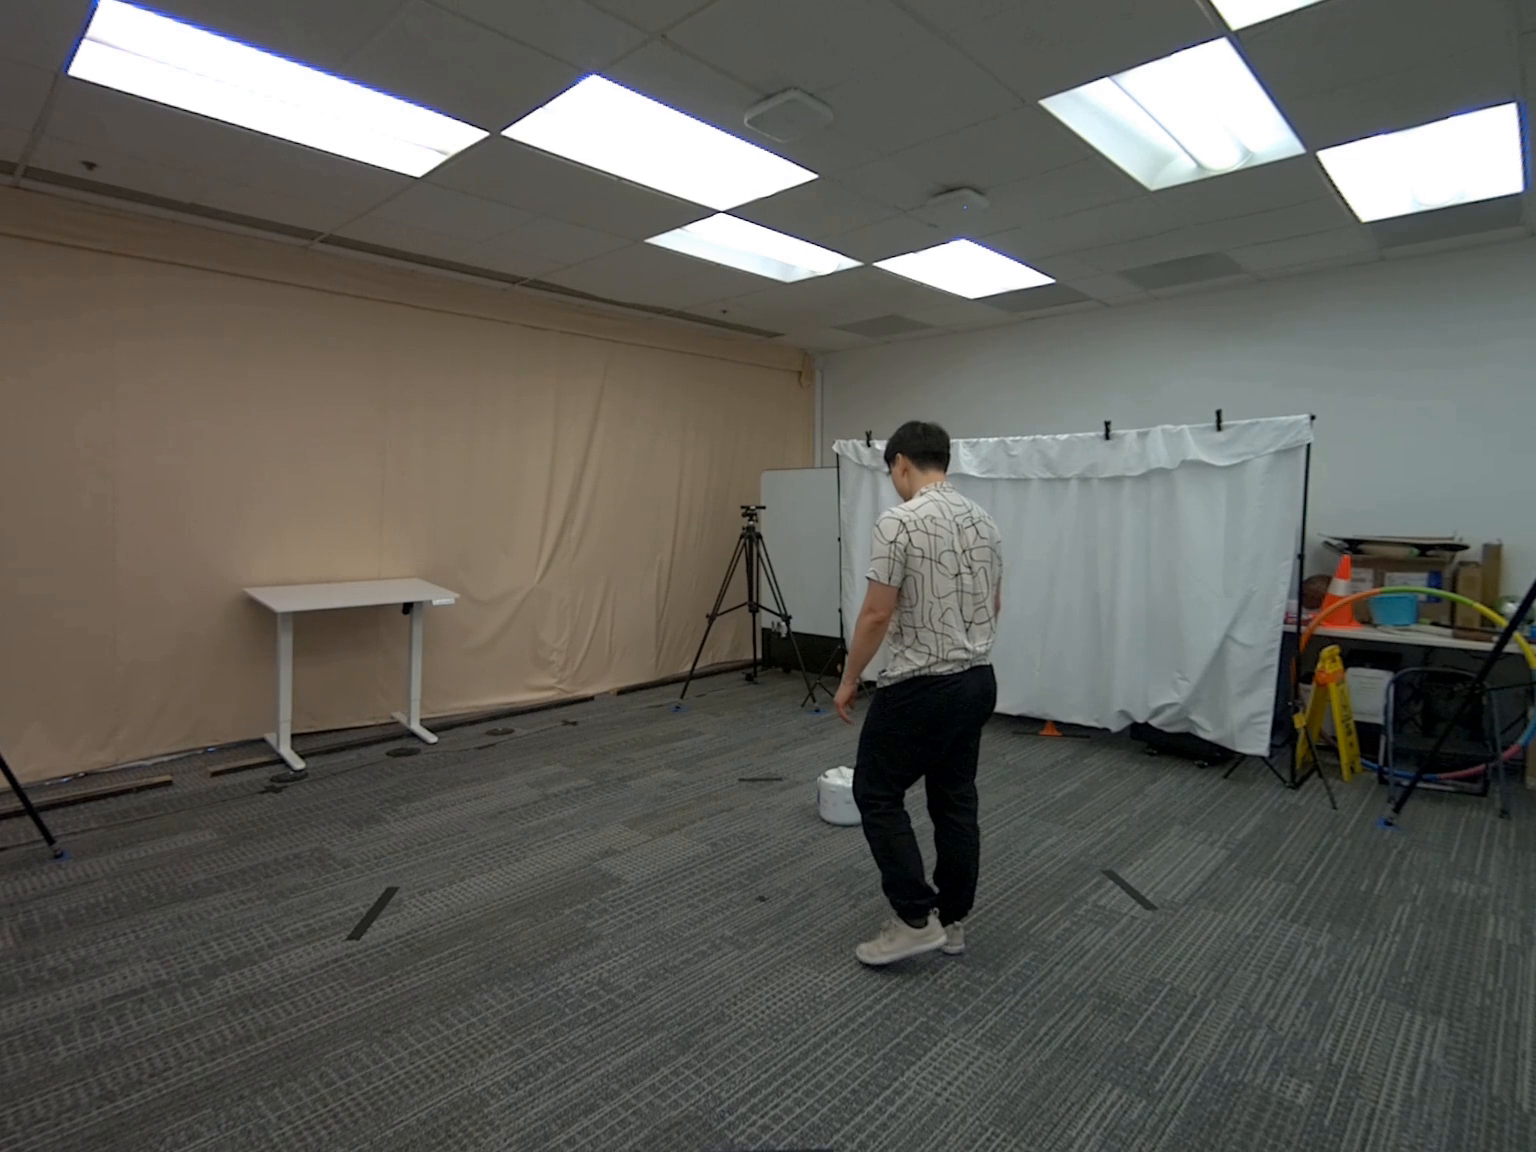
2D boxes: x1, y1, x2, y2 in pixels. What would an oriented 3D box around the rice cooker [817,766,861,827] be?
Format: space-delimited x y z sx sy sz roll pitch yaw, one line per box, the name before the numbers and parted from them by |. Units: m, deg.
rice cooker | 0.337 0.963 3.732 0.216 0.232 0.222 0 4 -5
